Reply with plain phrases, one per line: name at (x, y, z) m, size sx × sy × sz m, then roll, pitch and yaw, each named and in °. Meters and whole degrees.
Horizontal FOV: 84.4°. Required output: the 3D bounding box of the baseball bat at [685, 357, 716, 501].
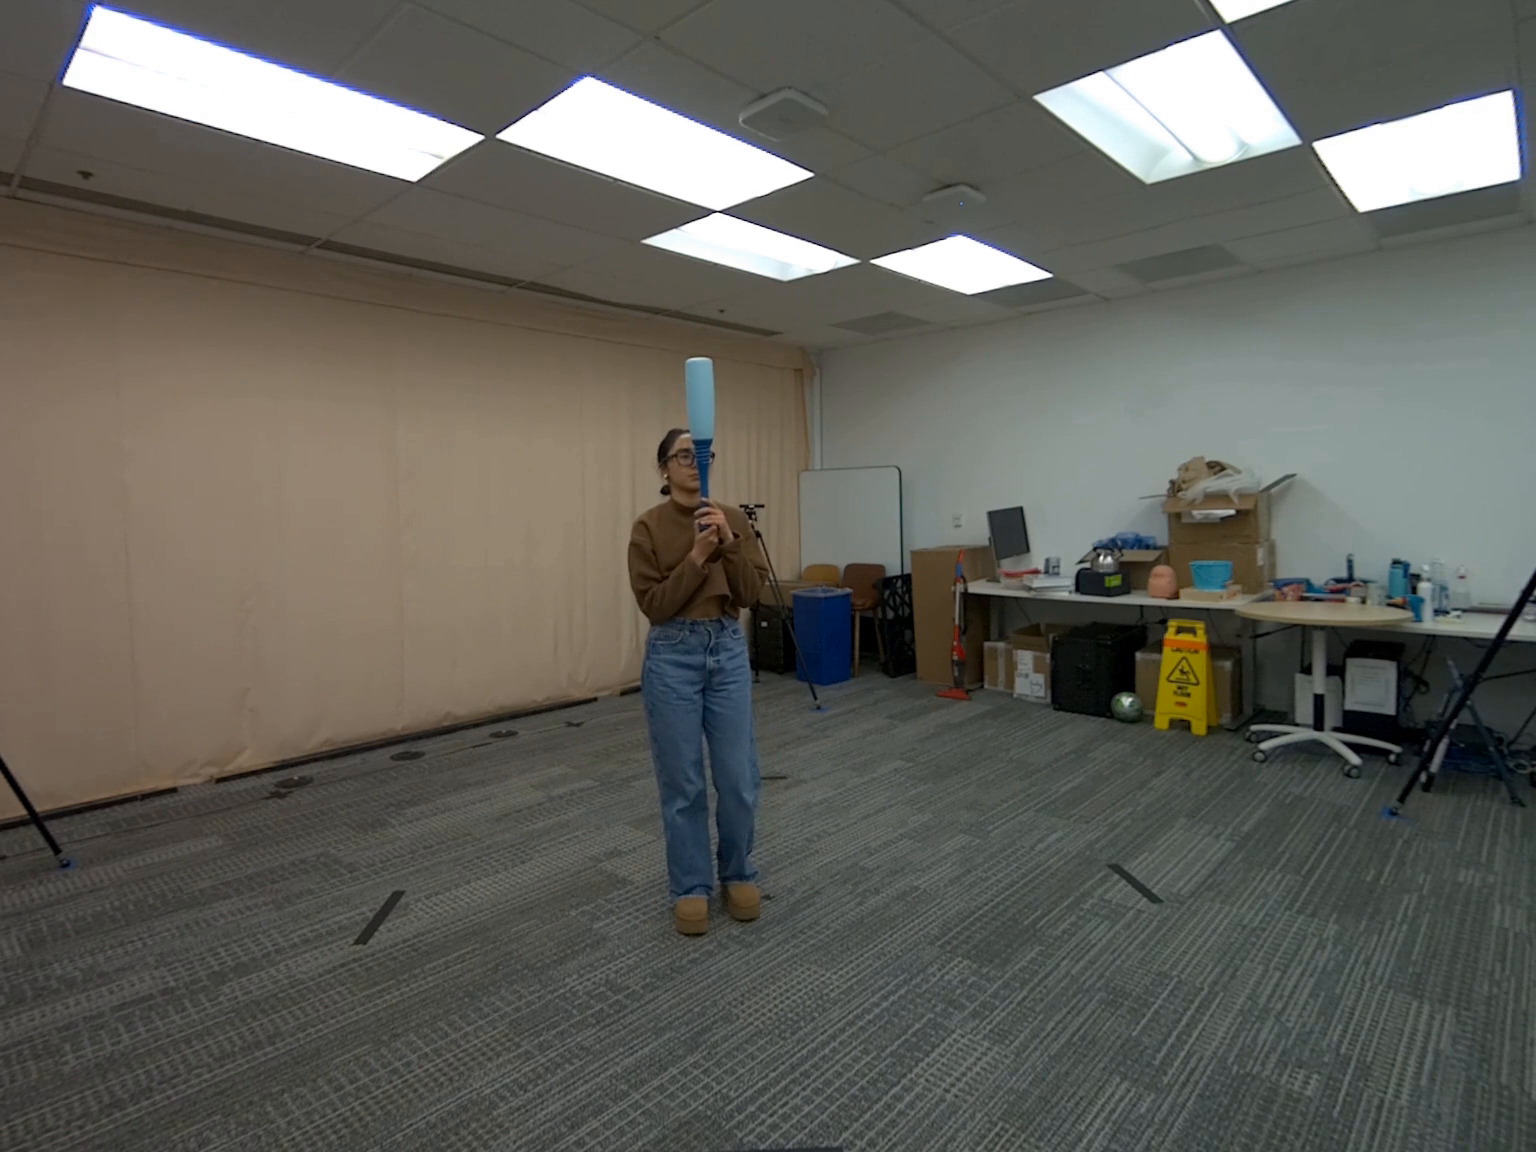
baseball bat at (-0.212, -0.414, 2.653) m, size 0.089 × 0.541 × 0.089 m, roll 0°, pitch 7°, yaw -2°
